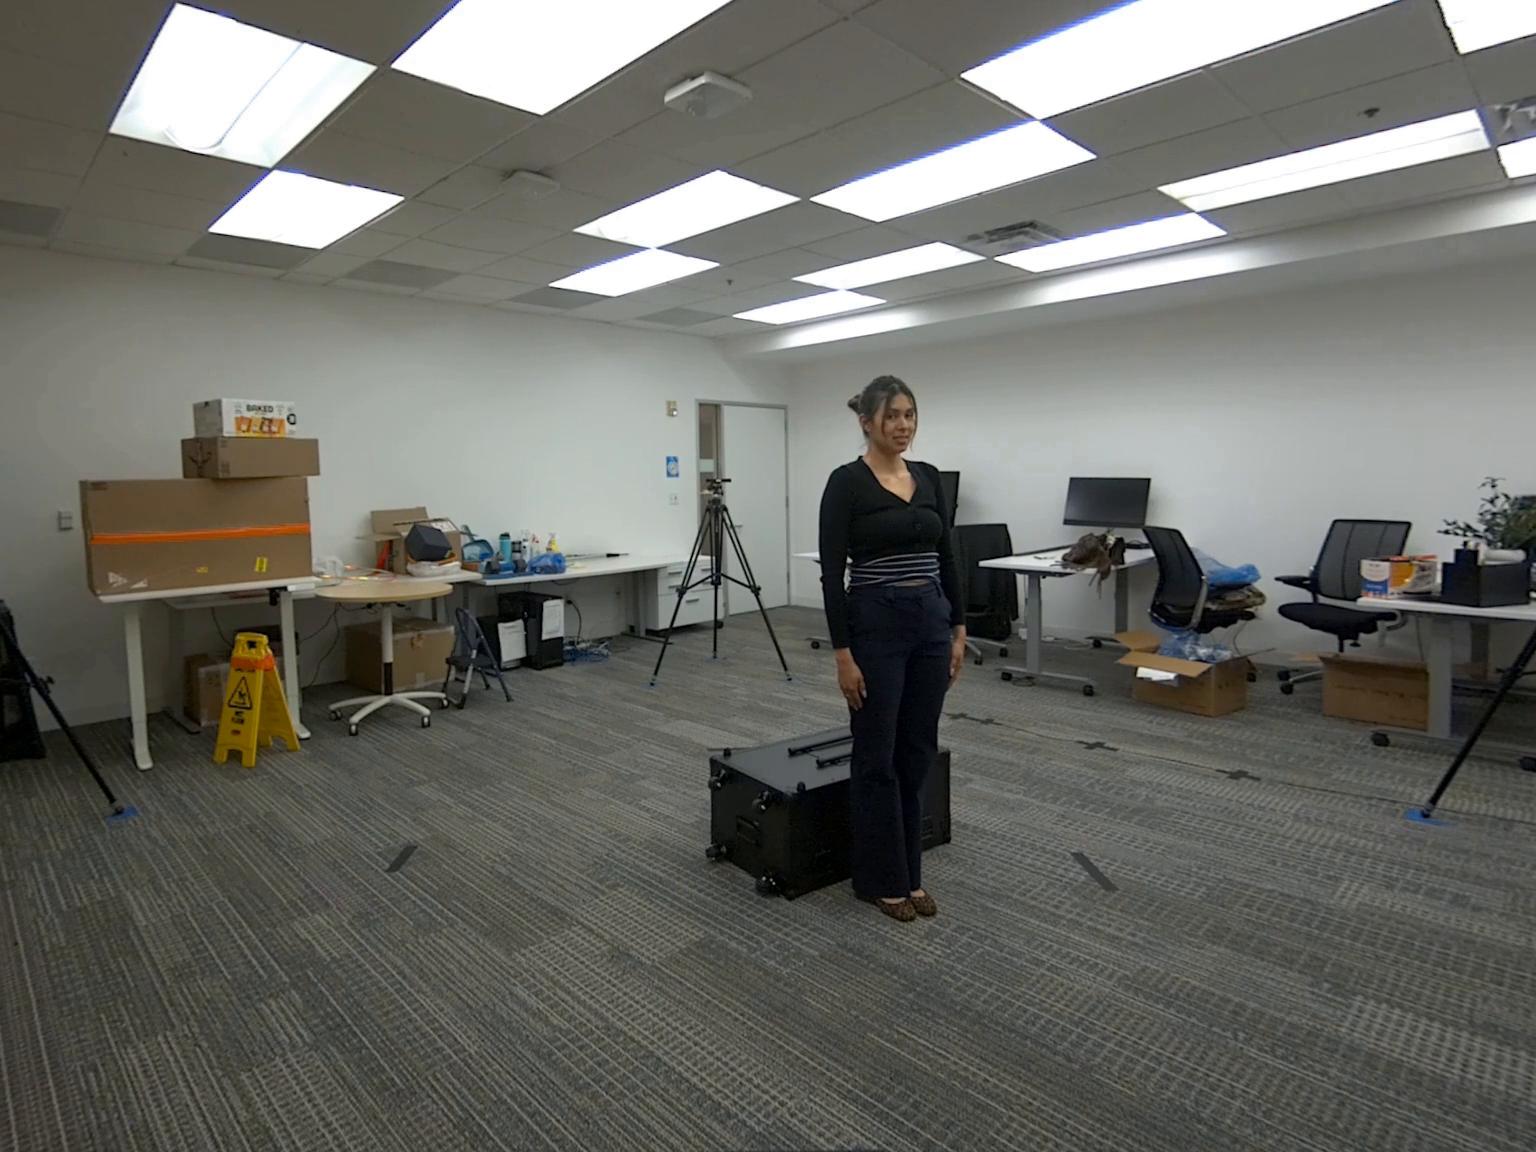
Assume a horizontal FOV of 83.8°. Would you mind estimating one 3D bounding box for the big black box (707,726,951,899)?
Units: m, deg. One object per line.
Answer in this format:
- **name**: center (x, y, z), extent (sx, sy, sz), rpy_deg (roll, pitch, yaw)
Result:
- **big black box**: center (0.262, 0.848, 3.240), extent (0.840, 0.394, 0.537), rpy_deg (-5, 7, -35)
